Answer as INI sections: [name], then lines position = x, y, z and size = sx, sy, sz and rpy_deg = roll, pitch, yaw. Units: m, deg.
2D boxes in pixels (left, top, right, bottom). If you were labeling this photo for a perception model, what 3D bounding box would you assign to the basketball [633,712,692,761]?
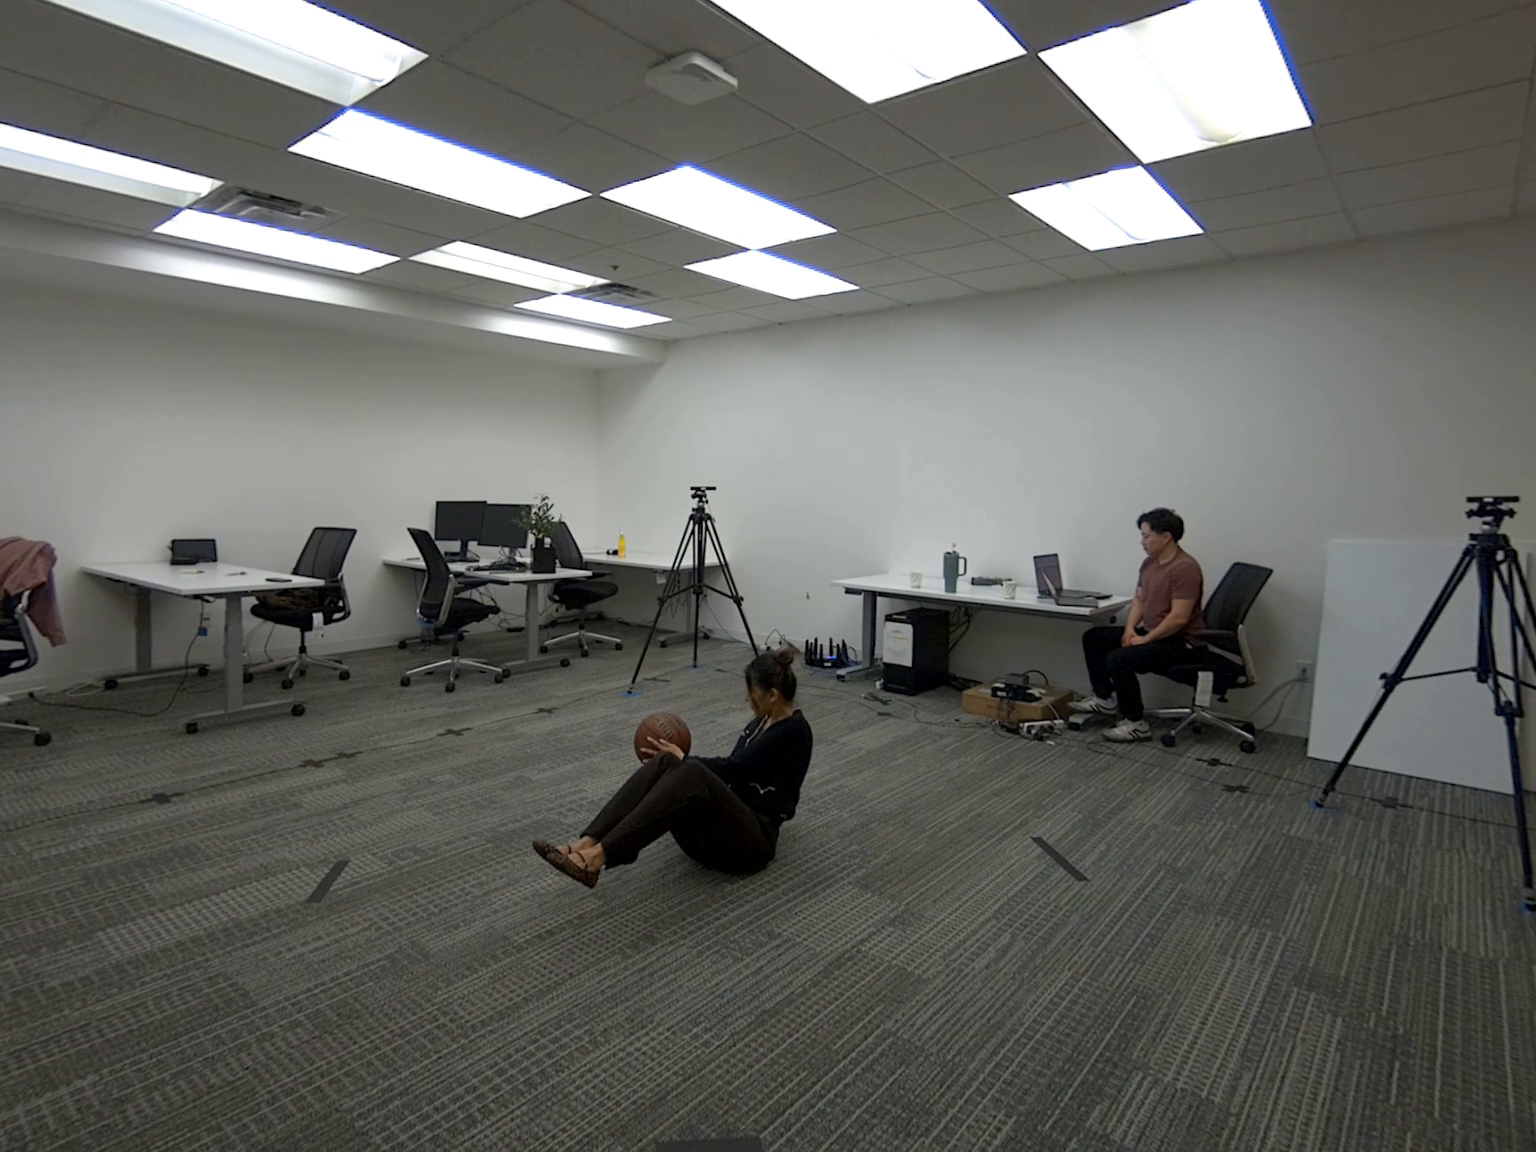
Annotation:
[basketball]
position = -0.440, 0.670, 3.487
size = 0.235, 0.235, 0.237
rpy_deg = 1, 4, -2
